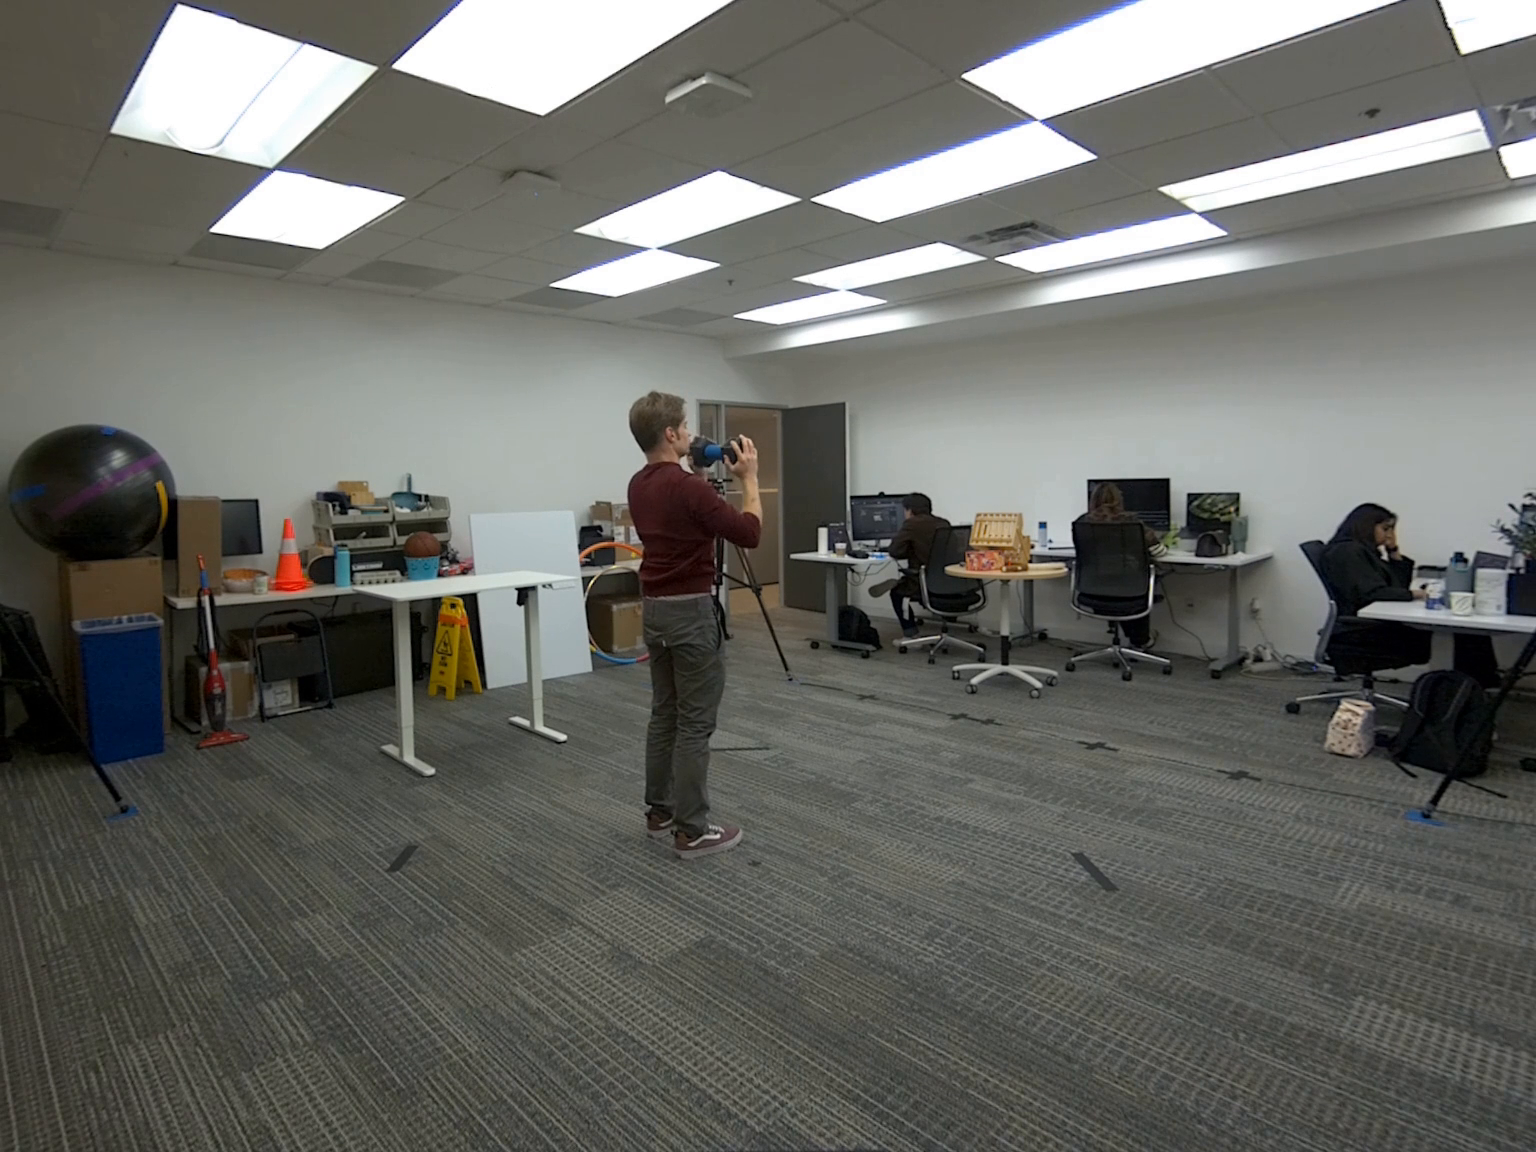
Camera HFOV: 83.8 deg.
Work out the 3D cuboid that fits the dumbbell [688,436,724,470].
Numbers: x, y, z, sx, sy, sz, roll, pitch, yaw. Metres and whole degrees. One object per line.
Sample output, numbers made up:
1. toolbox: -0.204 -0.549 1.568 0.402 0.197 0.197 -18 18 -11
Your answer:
1. dumbbell: -0.196 -0.488 3.333 0.107 0.121 0.303 -19 20 -33
